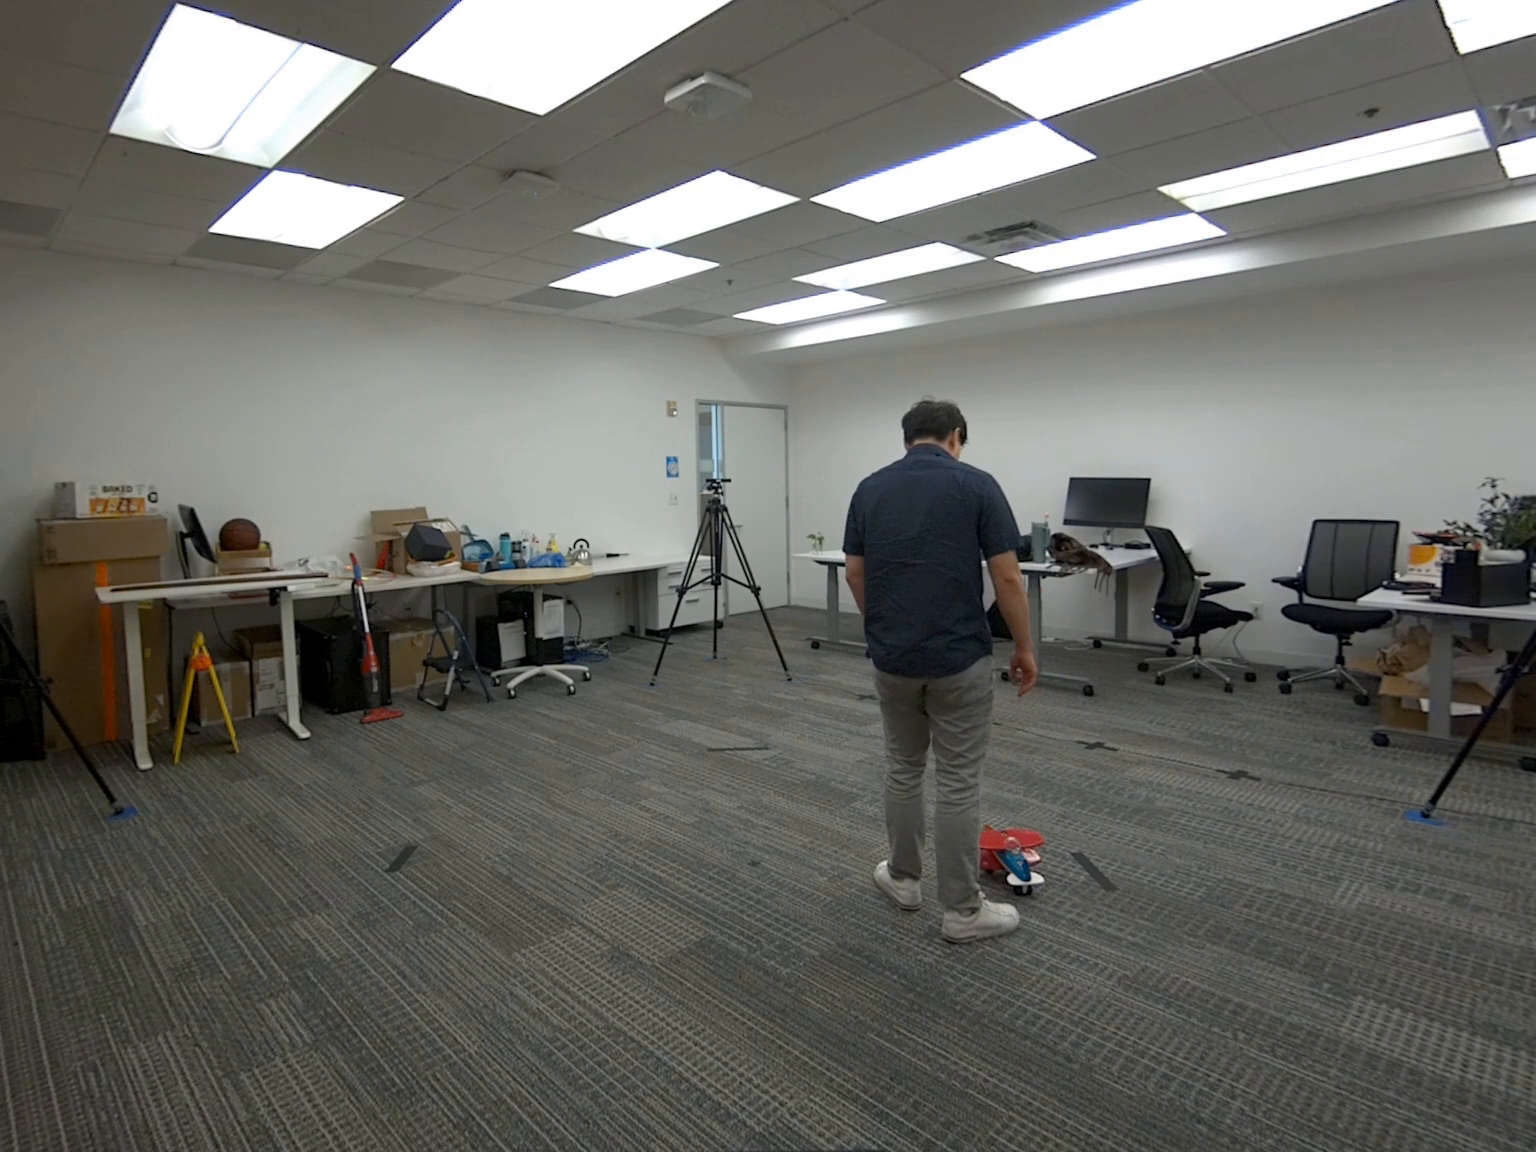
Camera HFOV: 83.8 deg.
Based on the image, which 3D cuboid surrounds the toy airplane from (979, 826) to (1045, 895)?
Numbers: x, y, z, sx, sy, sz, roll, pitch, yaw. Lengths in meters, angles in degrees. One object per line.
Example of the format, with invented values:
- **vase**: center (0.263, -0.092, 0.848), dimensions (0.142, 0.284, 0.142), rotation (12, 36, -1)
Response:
- **toy airplane**: center (0.852, 0.976, 2.925), dimensions (0.245, 0.156, 0.267), rotation (-5, 7, -36)
